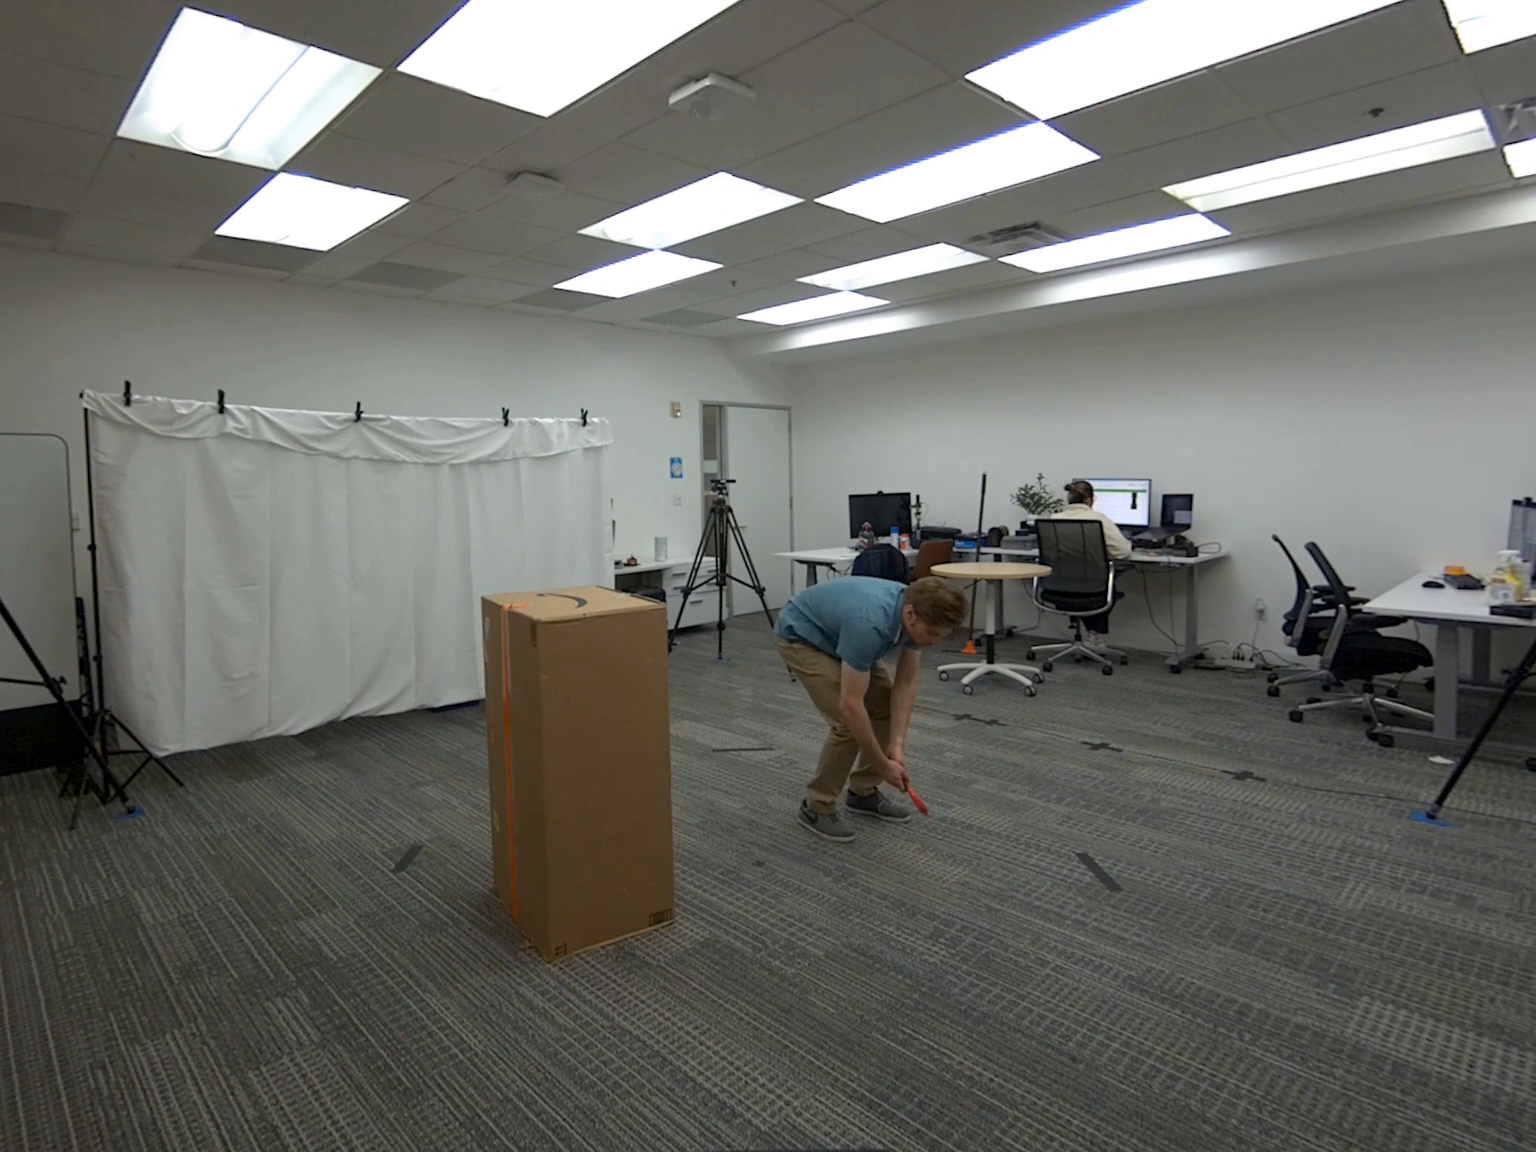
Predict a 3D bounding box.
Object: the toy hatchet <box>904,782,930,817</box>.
[{"bbox_3d":[0.495,0.778,3.170,0.126,0.029,0.281,42,-1,-40],"label":"toy hatchet"}]
